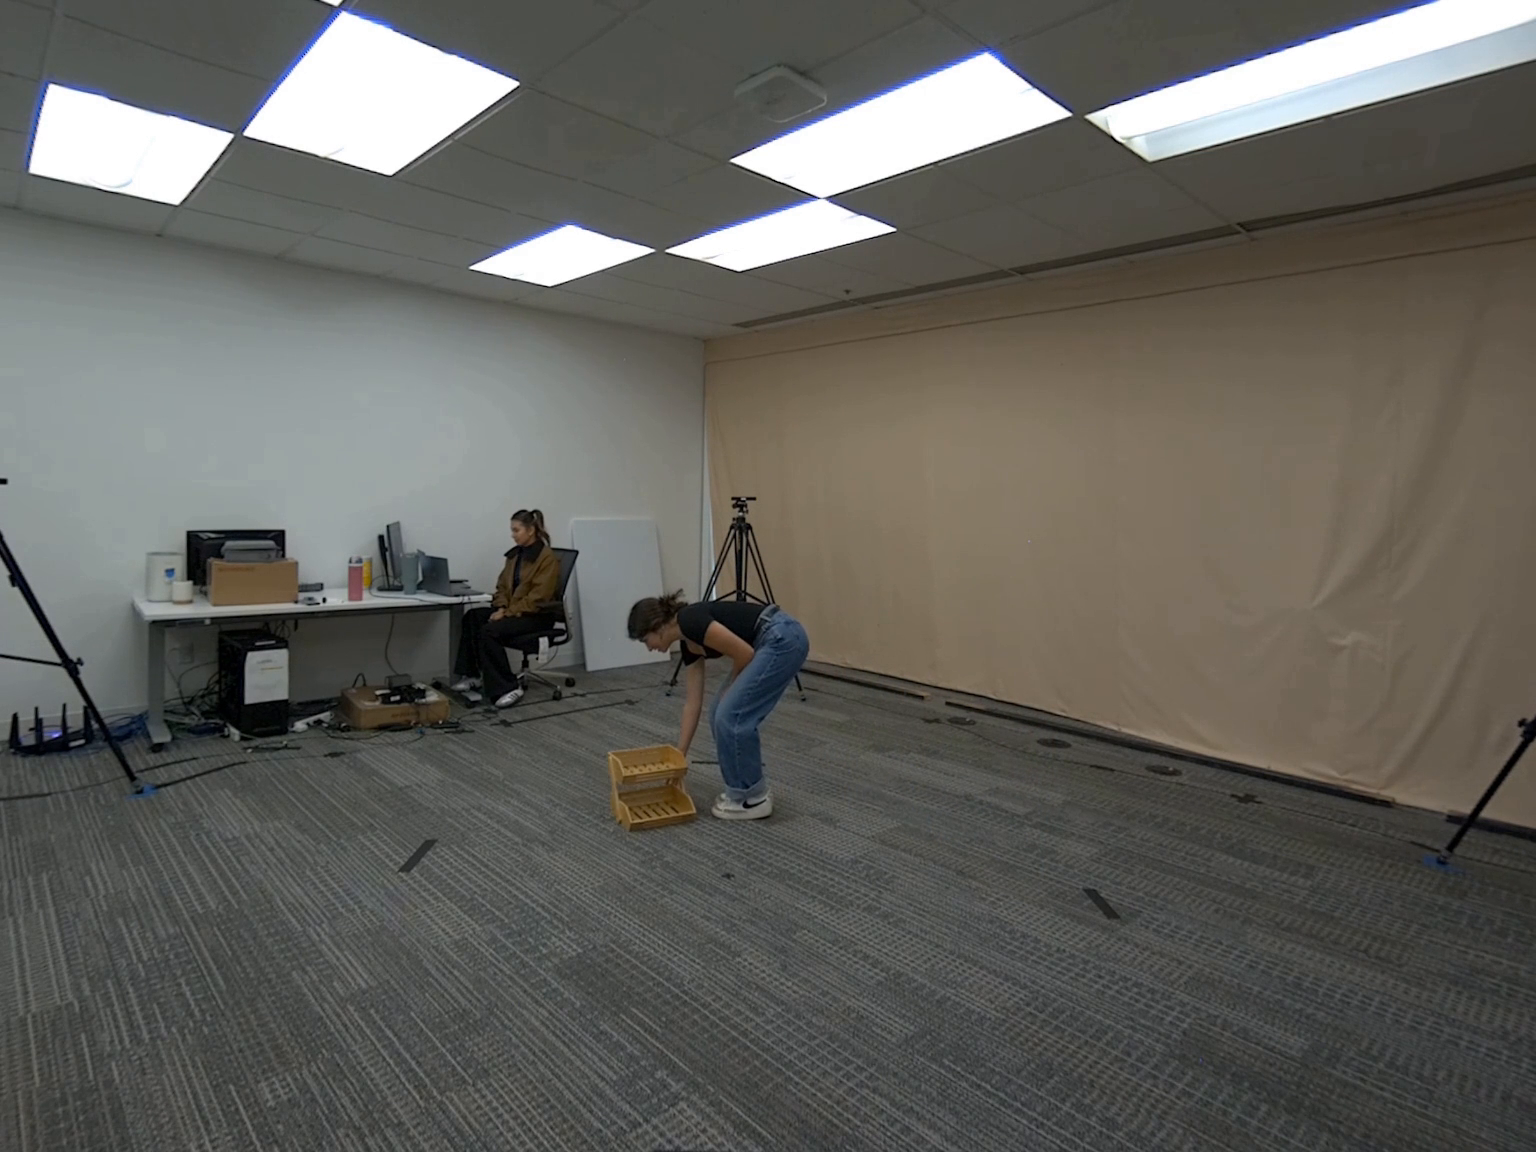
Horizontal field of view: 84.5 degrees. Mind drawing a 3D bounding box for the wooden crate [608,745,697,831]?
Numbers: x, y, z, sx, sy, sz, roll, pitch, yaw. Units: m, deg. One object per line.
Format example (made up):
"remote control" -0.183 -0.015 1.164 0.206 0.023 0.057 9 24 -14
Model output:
"wooden crate" -0.517 0.912 3.664 0.318 0.273 0.309 -1 4 -30
